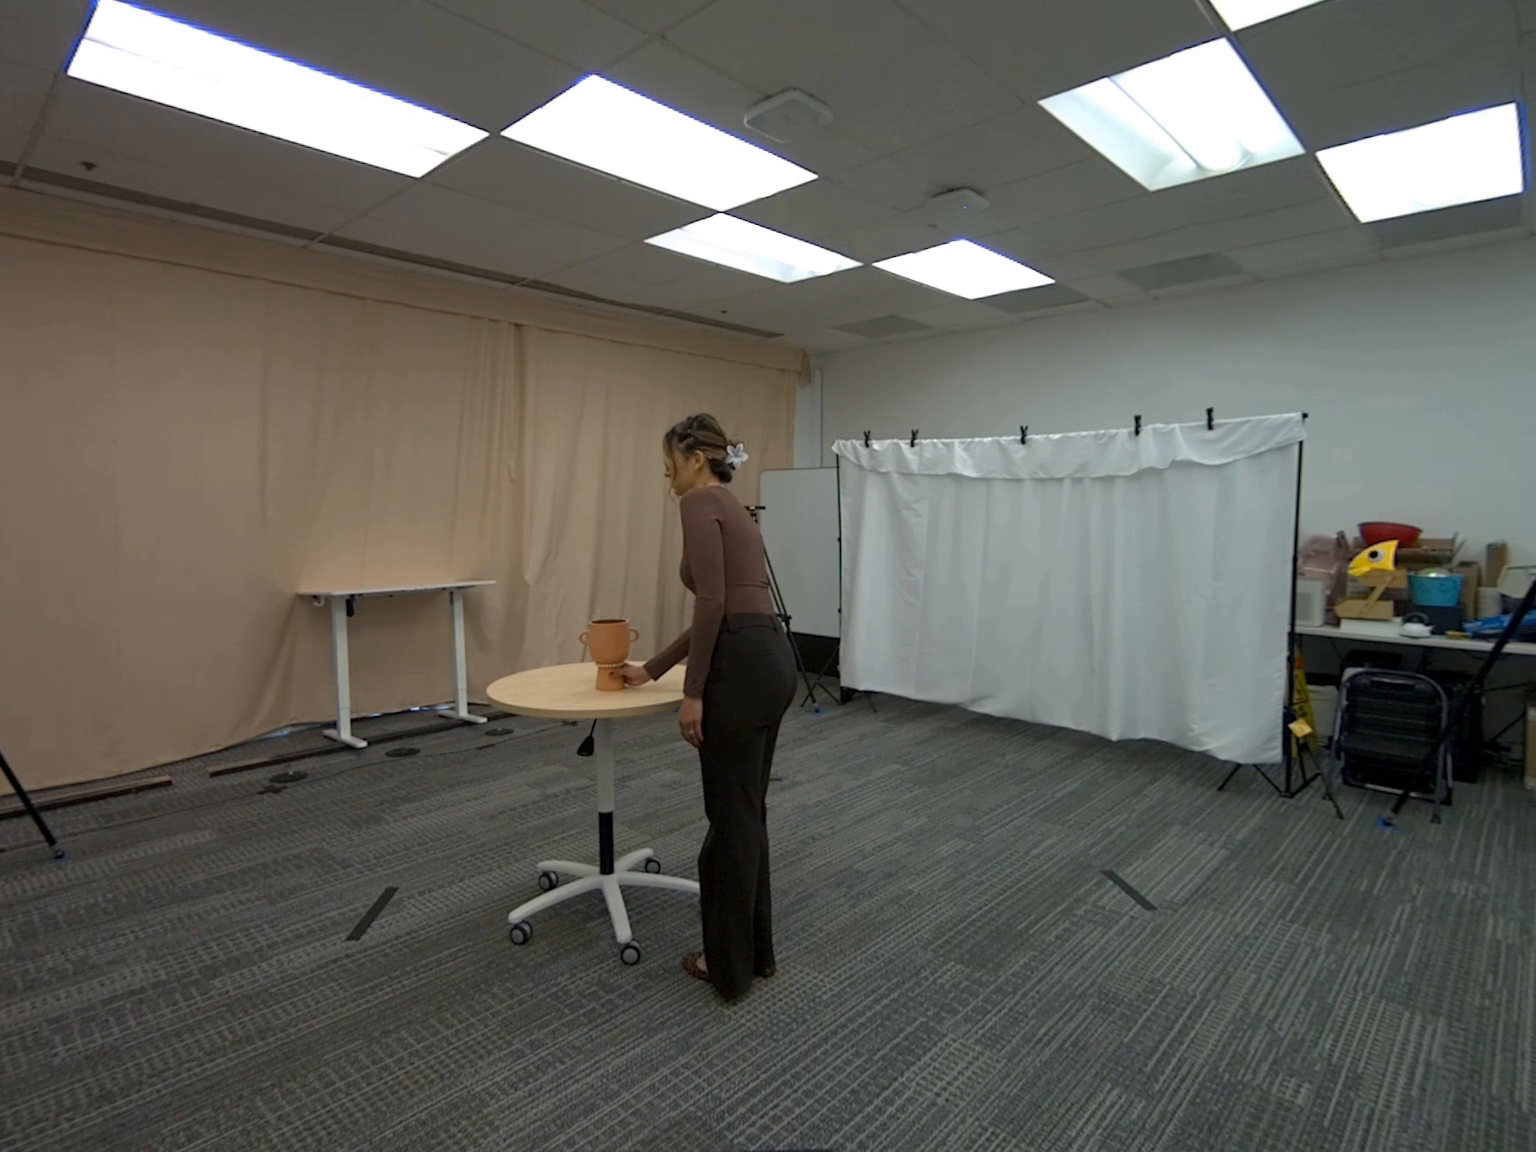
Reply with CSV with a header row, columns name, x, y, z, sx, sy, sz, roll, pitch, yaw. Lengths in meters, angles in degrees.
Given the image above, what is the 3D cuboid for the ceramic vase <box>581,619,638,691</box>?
name,x,y,z,sx,sy,sz,roll,pitch,yaw
ceramic vase,-0.514,0.258,2.763,0.162,0.219,0.132,0,4,23
